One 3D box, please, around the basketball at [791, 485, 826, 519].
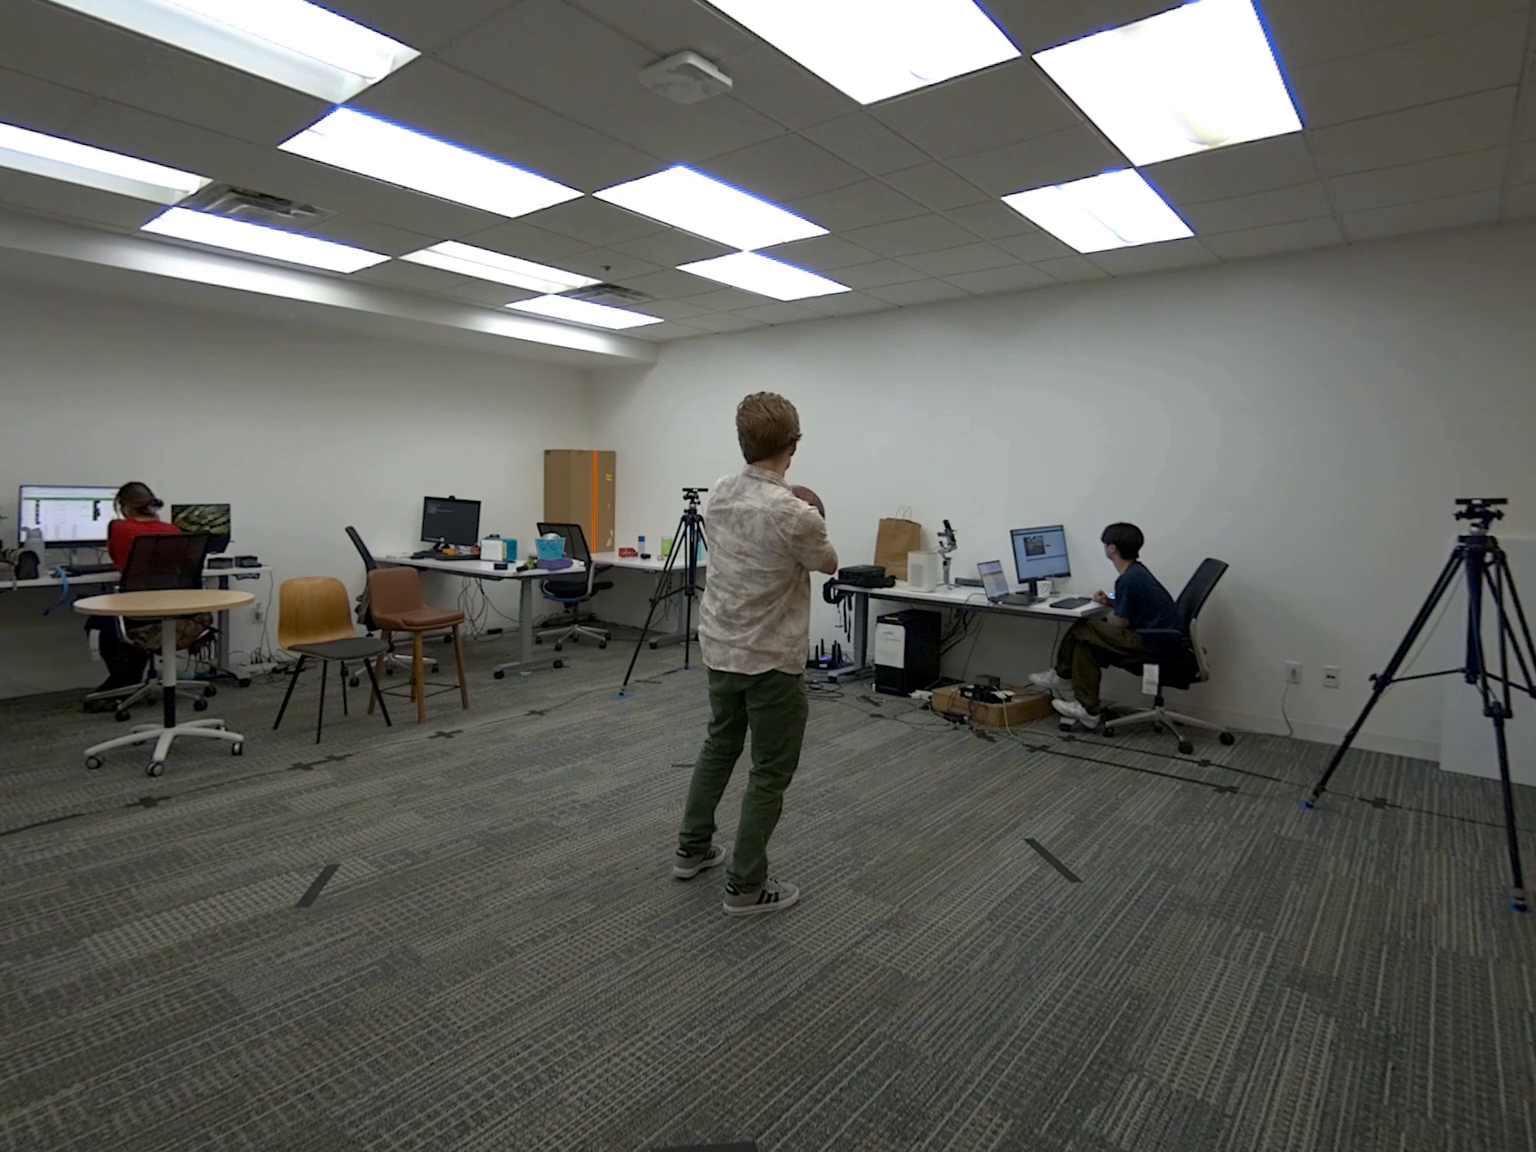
[{"bbox_3d":[0.098,-0.233,3.241,0.235,0.235,0.237,1,4,-2],"label":"basketball"}]
